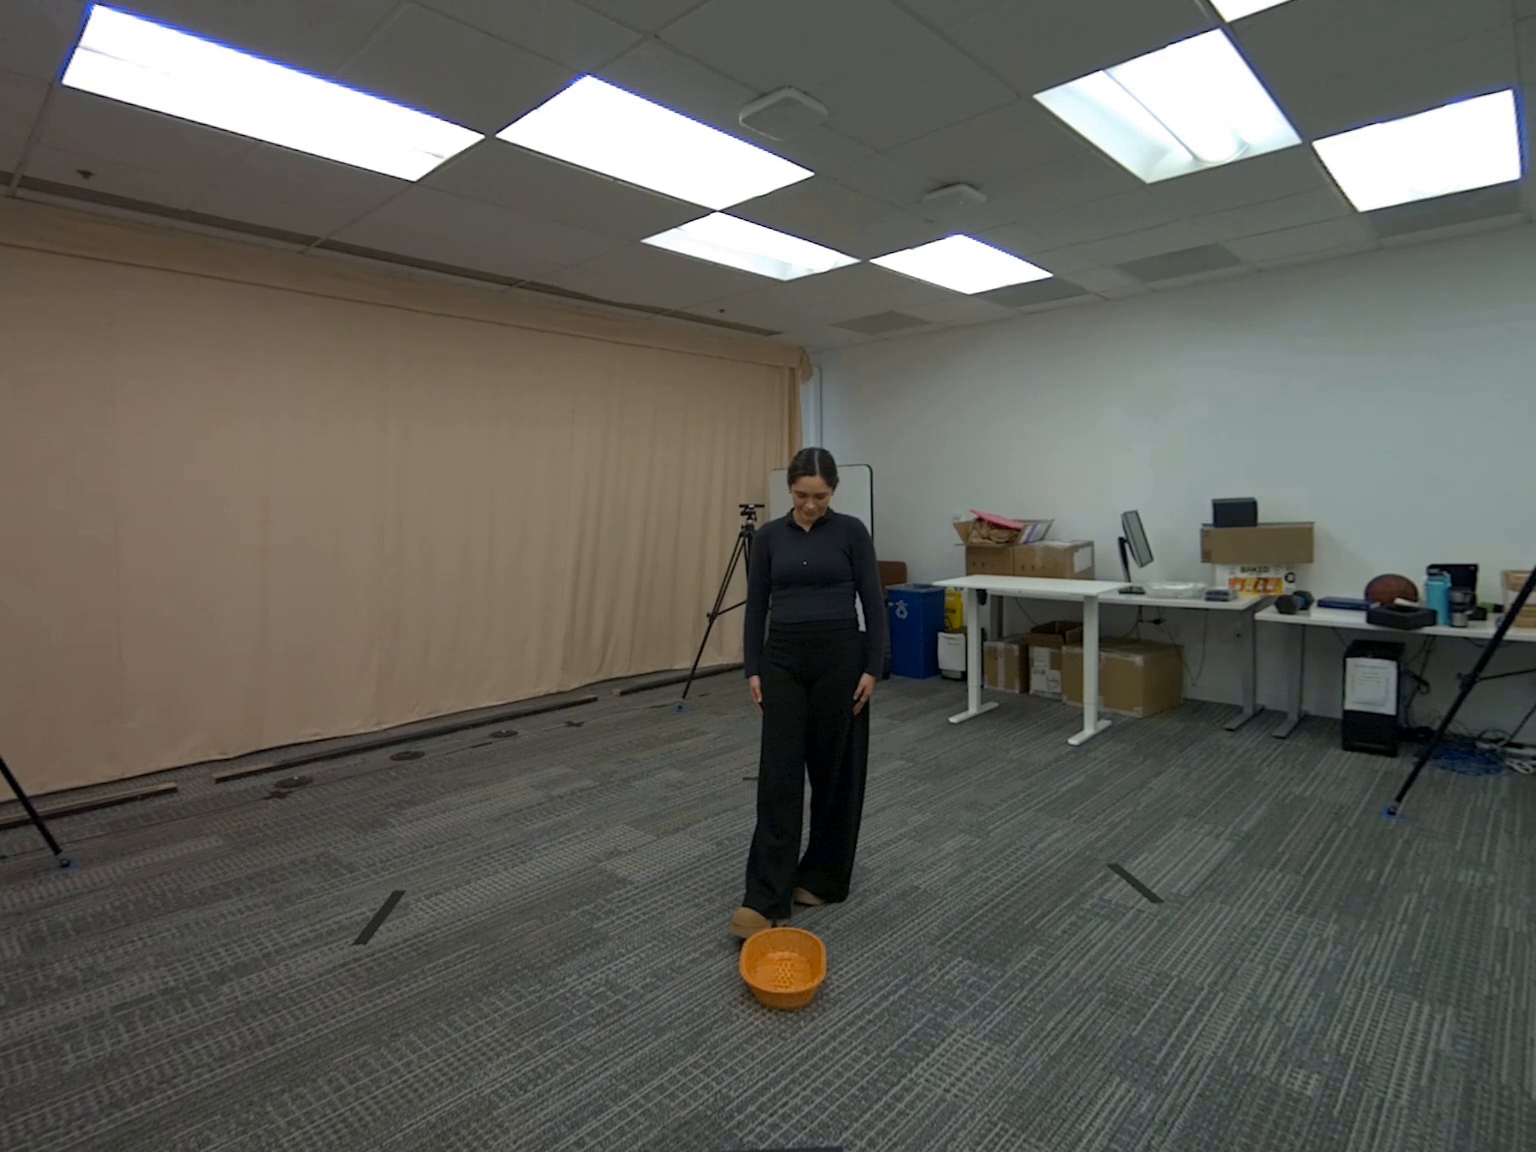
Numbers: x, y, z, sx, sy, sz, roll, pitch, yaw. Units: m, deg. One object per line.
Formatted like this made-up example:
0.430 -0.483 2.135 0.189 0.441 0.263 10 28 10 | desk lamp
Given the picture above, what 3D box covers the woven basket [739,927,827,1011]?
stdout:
0.042 1.139 2.457 0.255 0.073 0.348 -1 5 8 | woven basket
